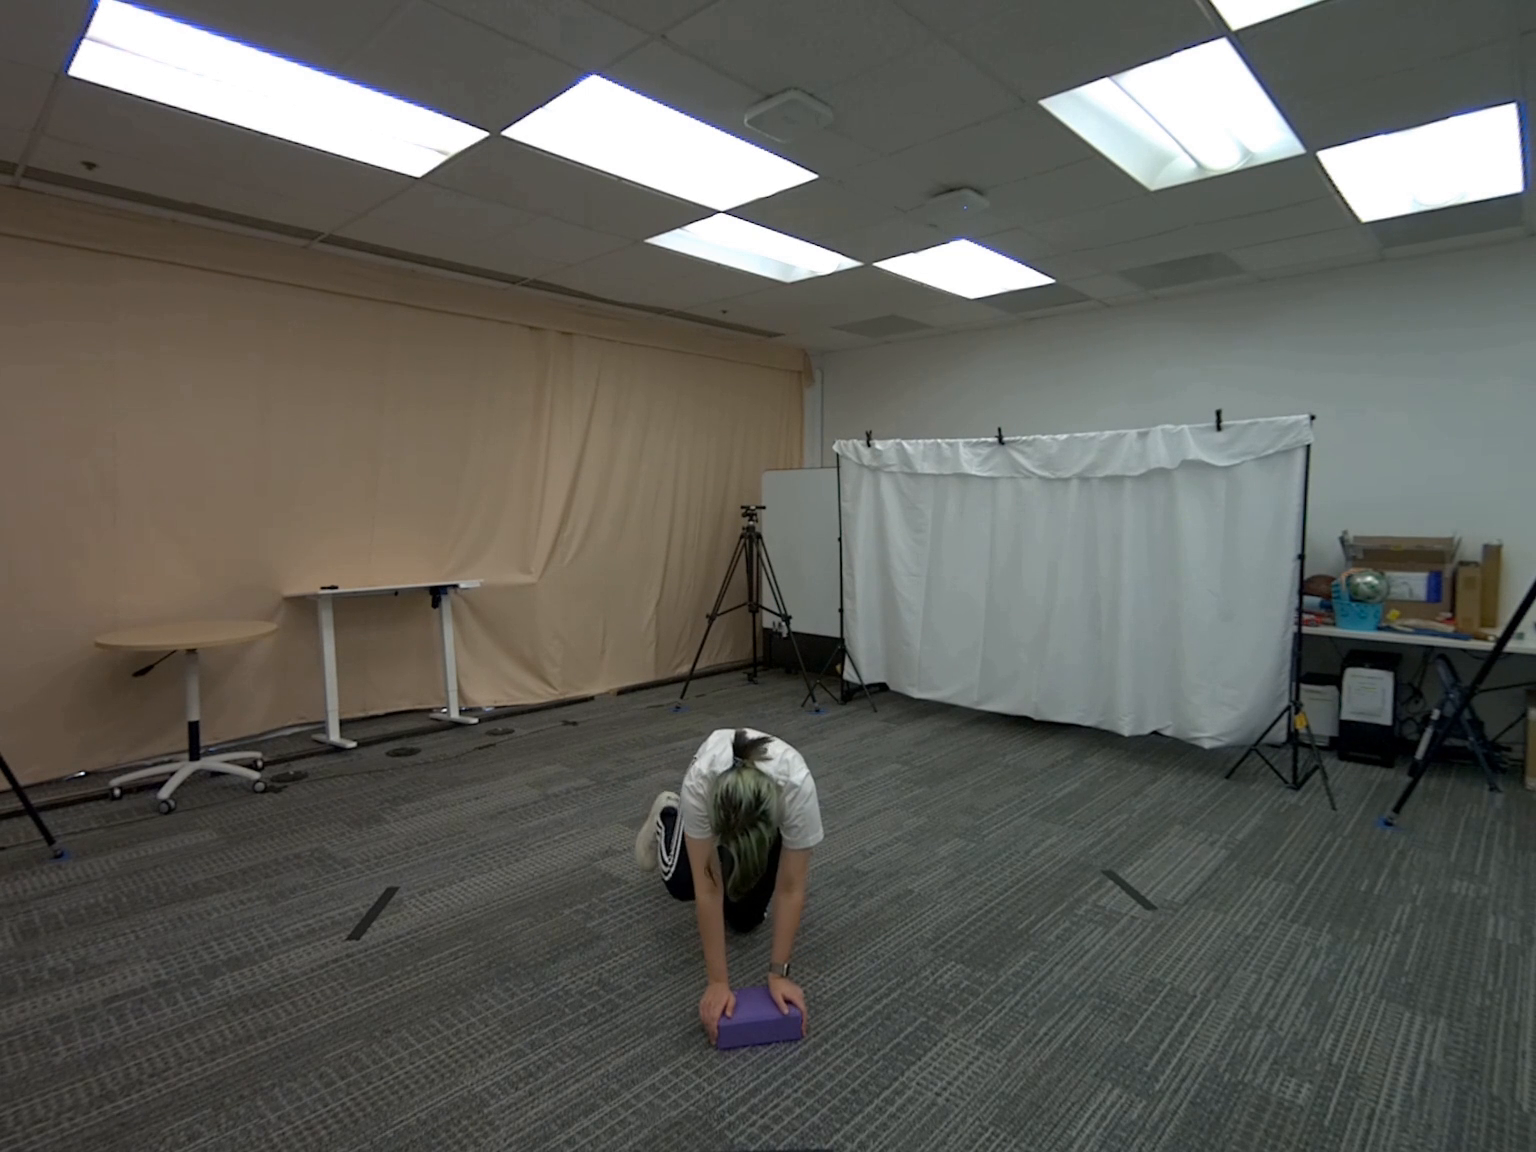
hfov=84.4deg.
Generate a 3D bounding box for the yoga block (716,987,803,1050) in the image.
[{"bbox_3d":[-0.039,1.166,2.244,0.226,0.076,0.151,-1,5,-12],"label":"yoga block"}]
